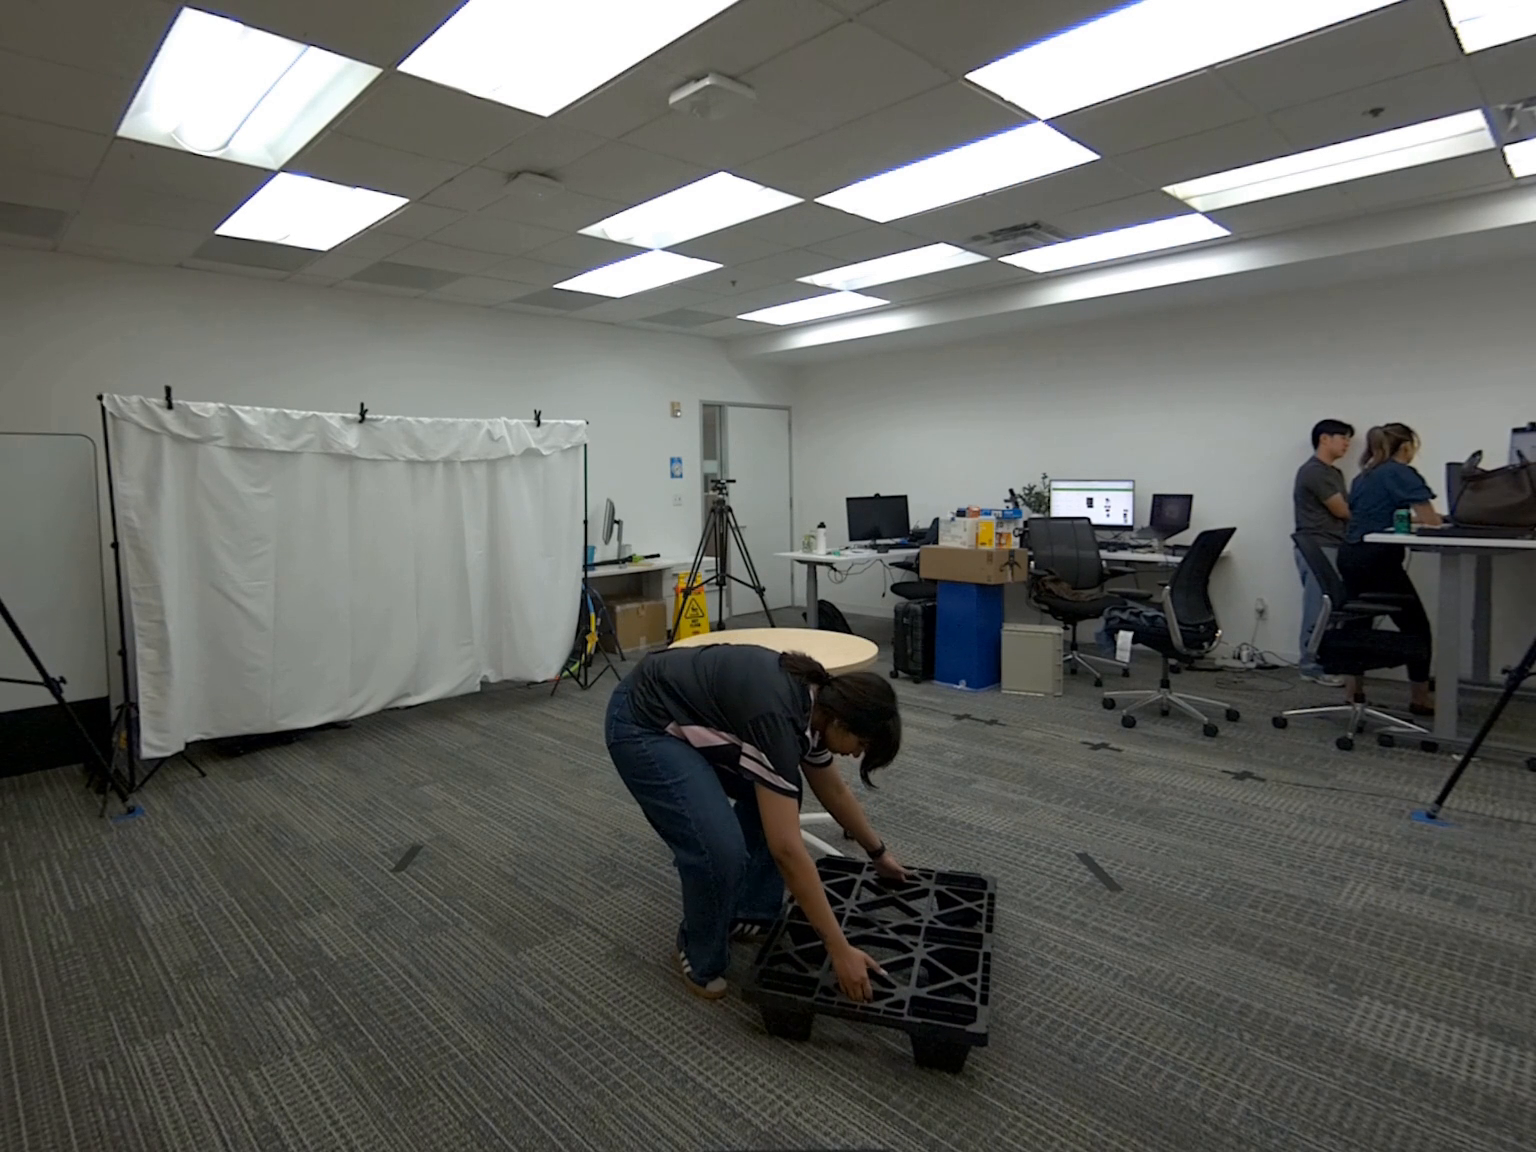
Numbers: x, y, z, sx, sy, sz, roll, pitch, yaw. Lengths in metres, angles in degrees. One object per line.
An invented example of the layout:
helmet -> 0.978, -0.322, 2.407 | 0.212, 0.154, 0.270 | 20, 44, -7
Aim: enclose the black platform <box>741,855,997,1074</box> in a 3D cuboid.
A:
black platform -> 0.326, 1.051, 2.410 | 0.615, 0.143, 0.796 | 0, 6, 17
